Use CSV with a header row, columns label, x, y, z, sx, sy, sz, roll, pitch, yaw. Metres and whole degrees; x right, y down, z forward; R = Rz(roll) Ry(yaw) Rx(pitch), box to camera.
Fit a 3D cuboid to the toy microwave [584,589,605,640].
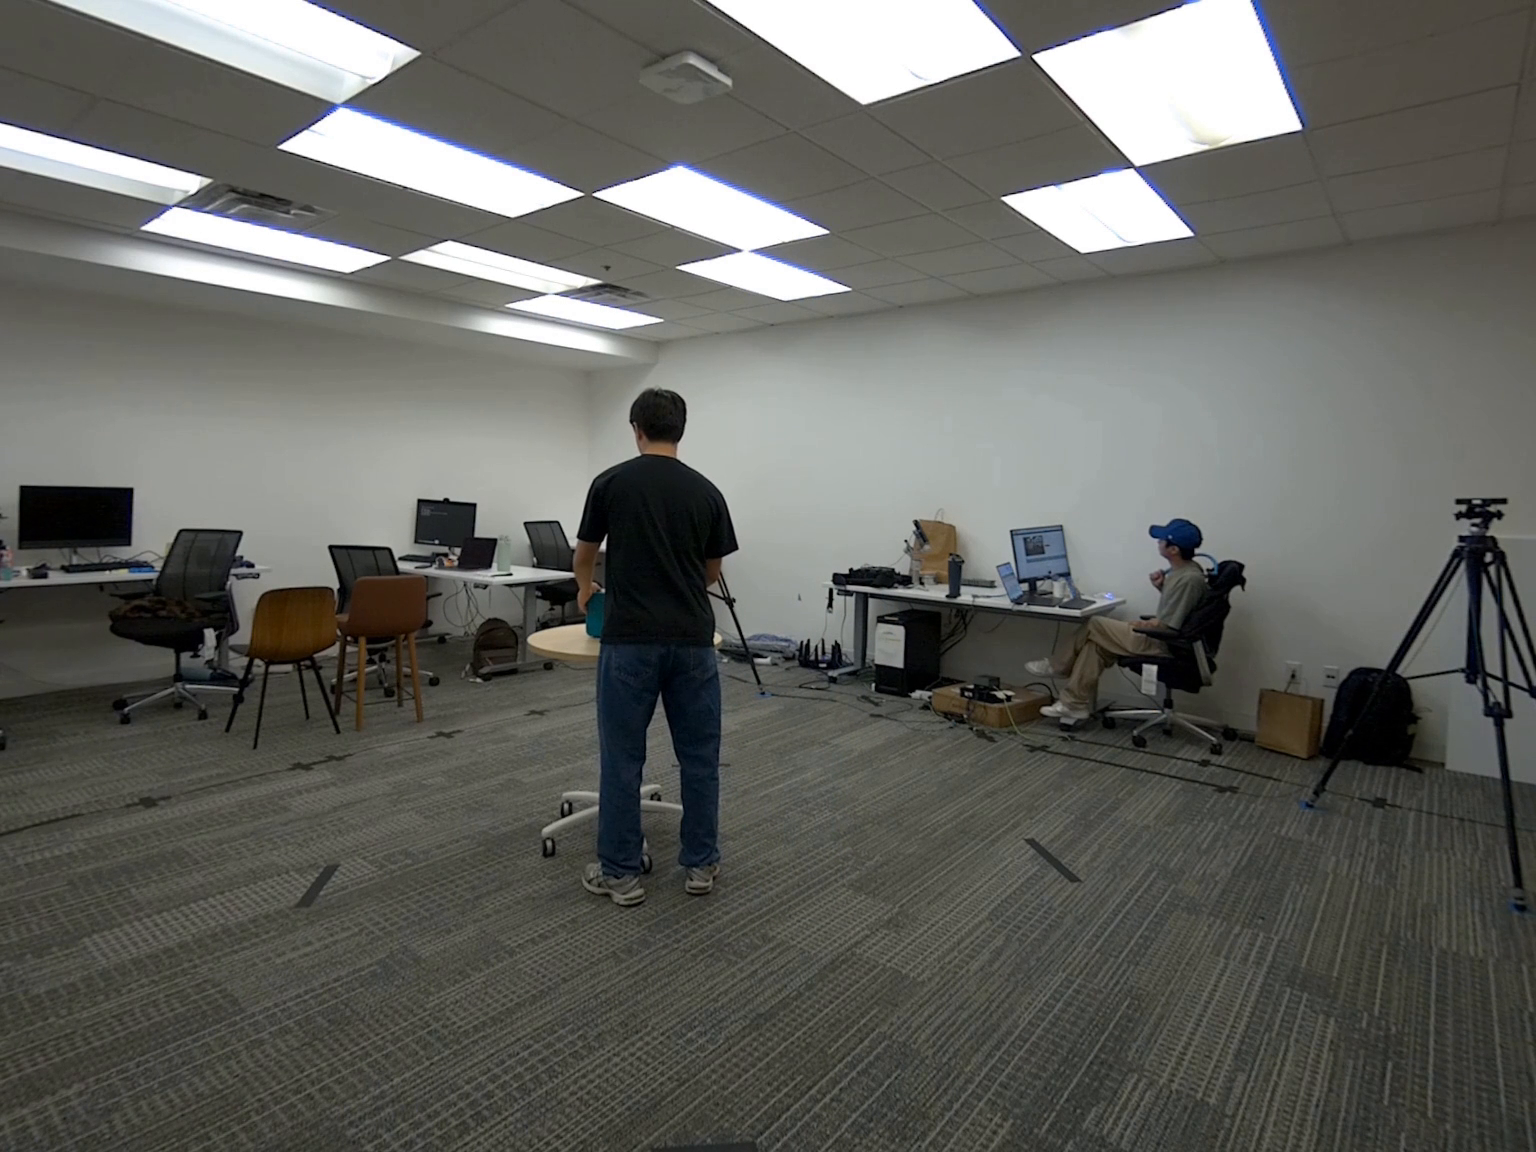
label,x,y,z,sx,sy,sz,roll,pitch,yaw
toy microwave,-0.592,0.148,3.400,0.288,0.183,0.152,-1,4,5
